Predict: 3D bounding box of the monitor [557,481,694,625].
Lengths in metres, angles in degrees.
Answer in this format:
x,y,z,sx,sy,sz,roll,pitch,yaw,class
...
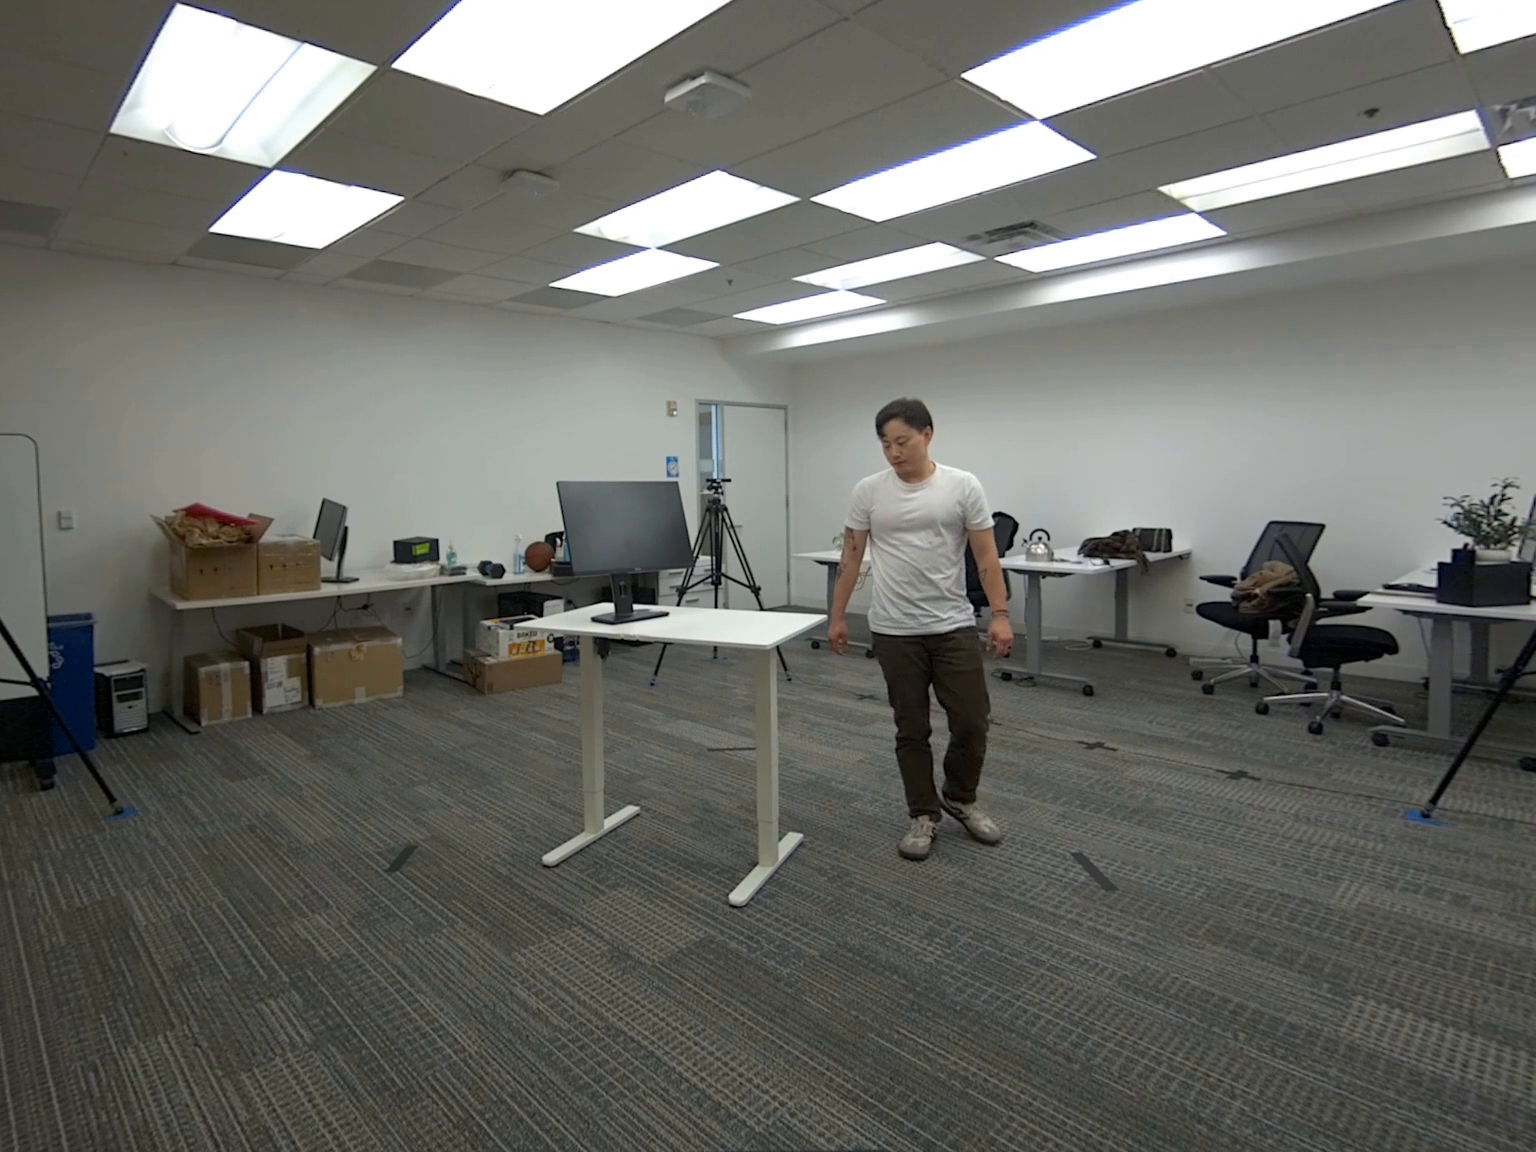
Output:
x,y,z,sx,sy,sz,roll,pitch,yaw,class
-0.556,-0.094,3.221,0.192,0.523,0.524,-4,0,42,monitor
